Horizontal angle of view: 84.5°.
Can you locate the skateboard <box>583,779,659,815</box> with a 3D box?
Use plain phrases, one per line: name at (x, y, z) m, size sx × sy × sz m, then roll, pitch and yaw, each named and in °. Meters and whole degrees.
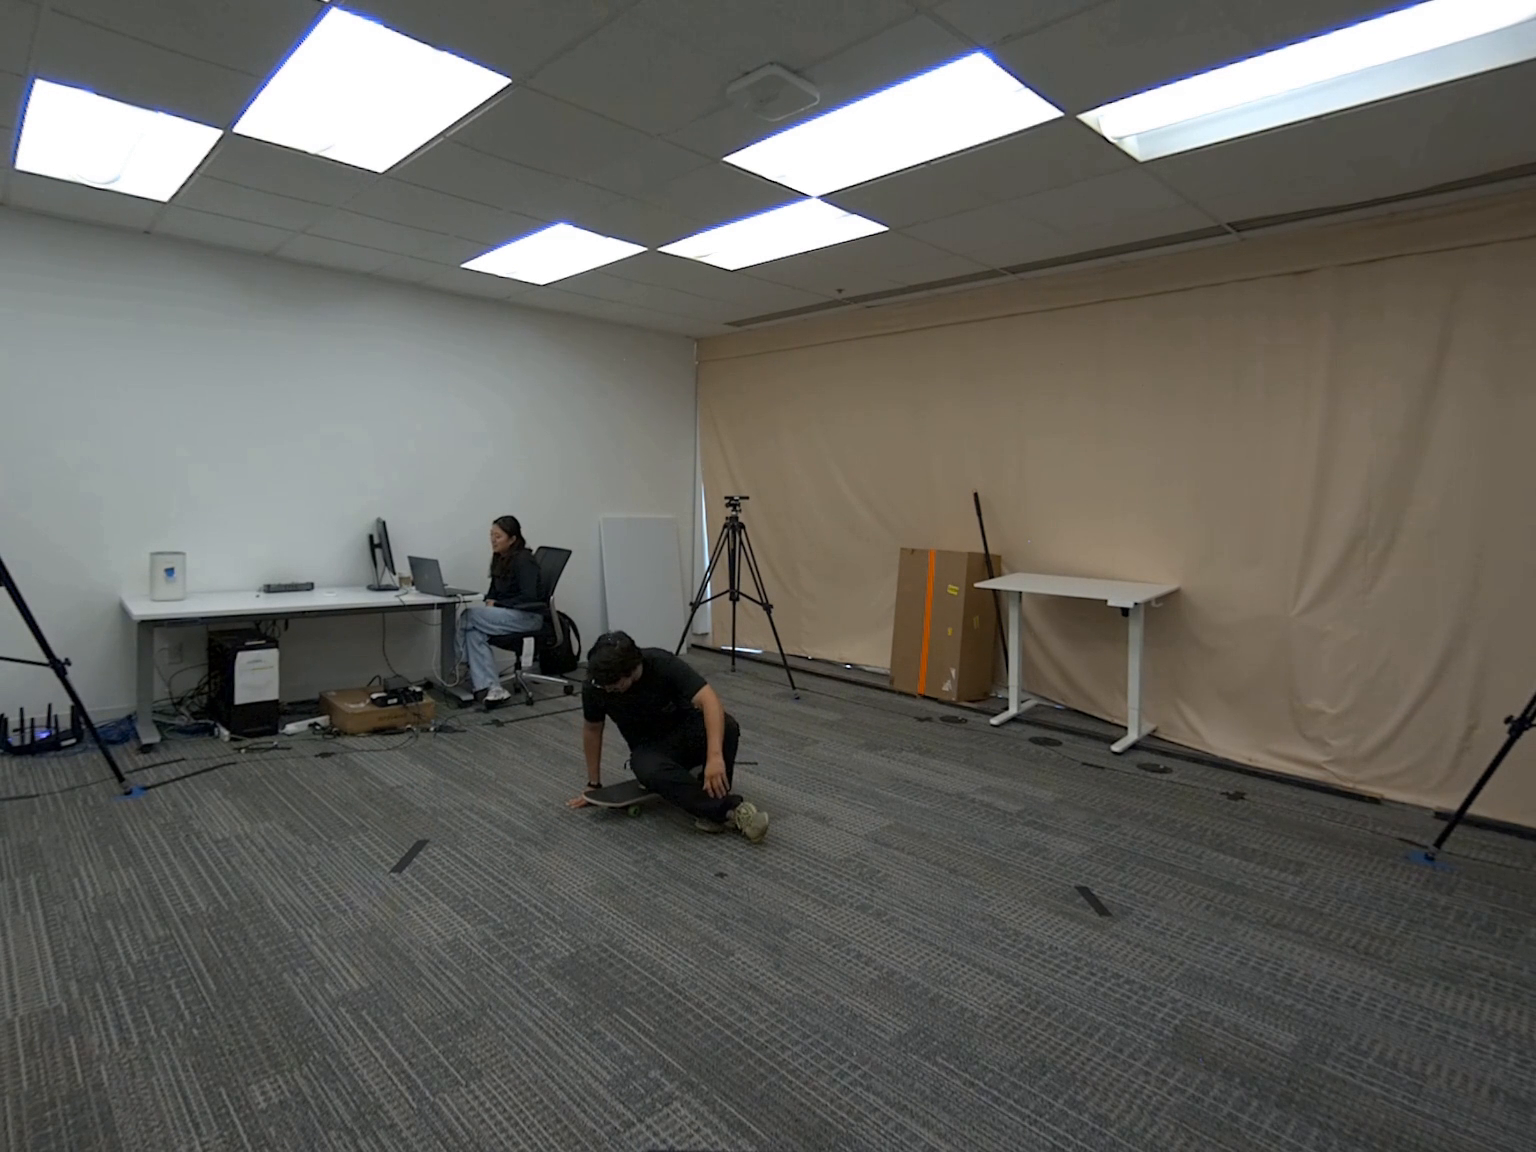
skateboard at (-0.506, 0.974, 3.843) m, size 0.767 × 0.110 × 0.199 m, roll -3°, pitch 9°, yaw -45°
